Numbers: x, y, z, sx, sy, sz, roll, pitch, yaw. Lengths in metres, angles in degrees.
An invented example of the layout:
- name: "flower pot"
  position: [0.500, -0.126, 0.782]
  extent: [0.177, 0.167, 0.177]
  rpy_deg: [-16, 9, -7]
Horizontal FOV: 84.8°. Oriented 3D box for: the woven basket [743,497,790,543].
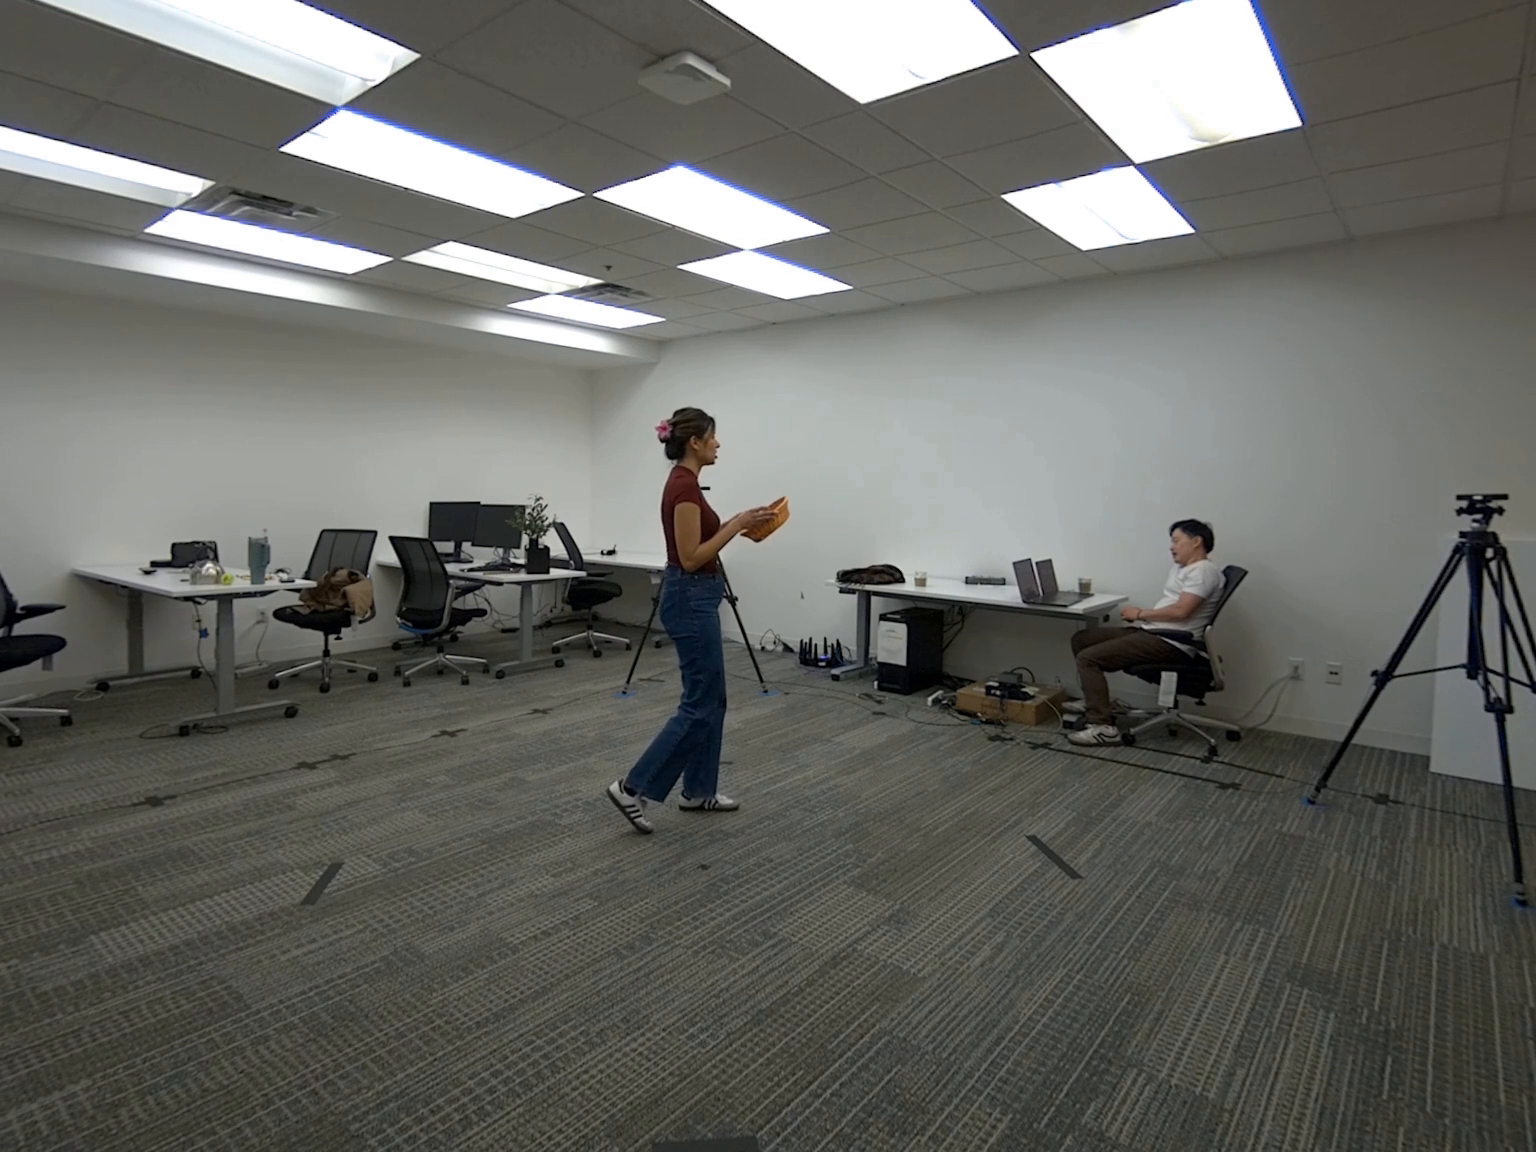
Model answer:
- name: "woven basket"
  position: [-0.006, -0.232, 3.596]
  extent: [0.253, 0.073, 0.353]
  rpy_deg: [-36, 9, 11]
